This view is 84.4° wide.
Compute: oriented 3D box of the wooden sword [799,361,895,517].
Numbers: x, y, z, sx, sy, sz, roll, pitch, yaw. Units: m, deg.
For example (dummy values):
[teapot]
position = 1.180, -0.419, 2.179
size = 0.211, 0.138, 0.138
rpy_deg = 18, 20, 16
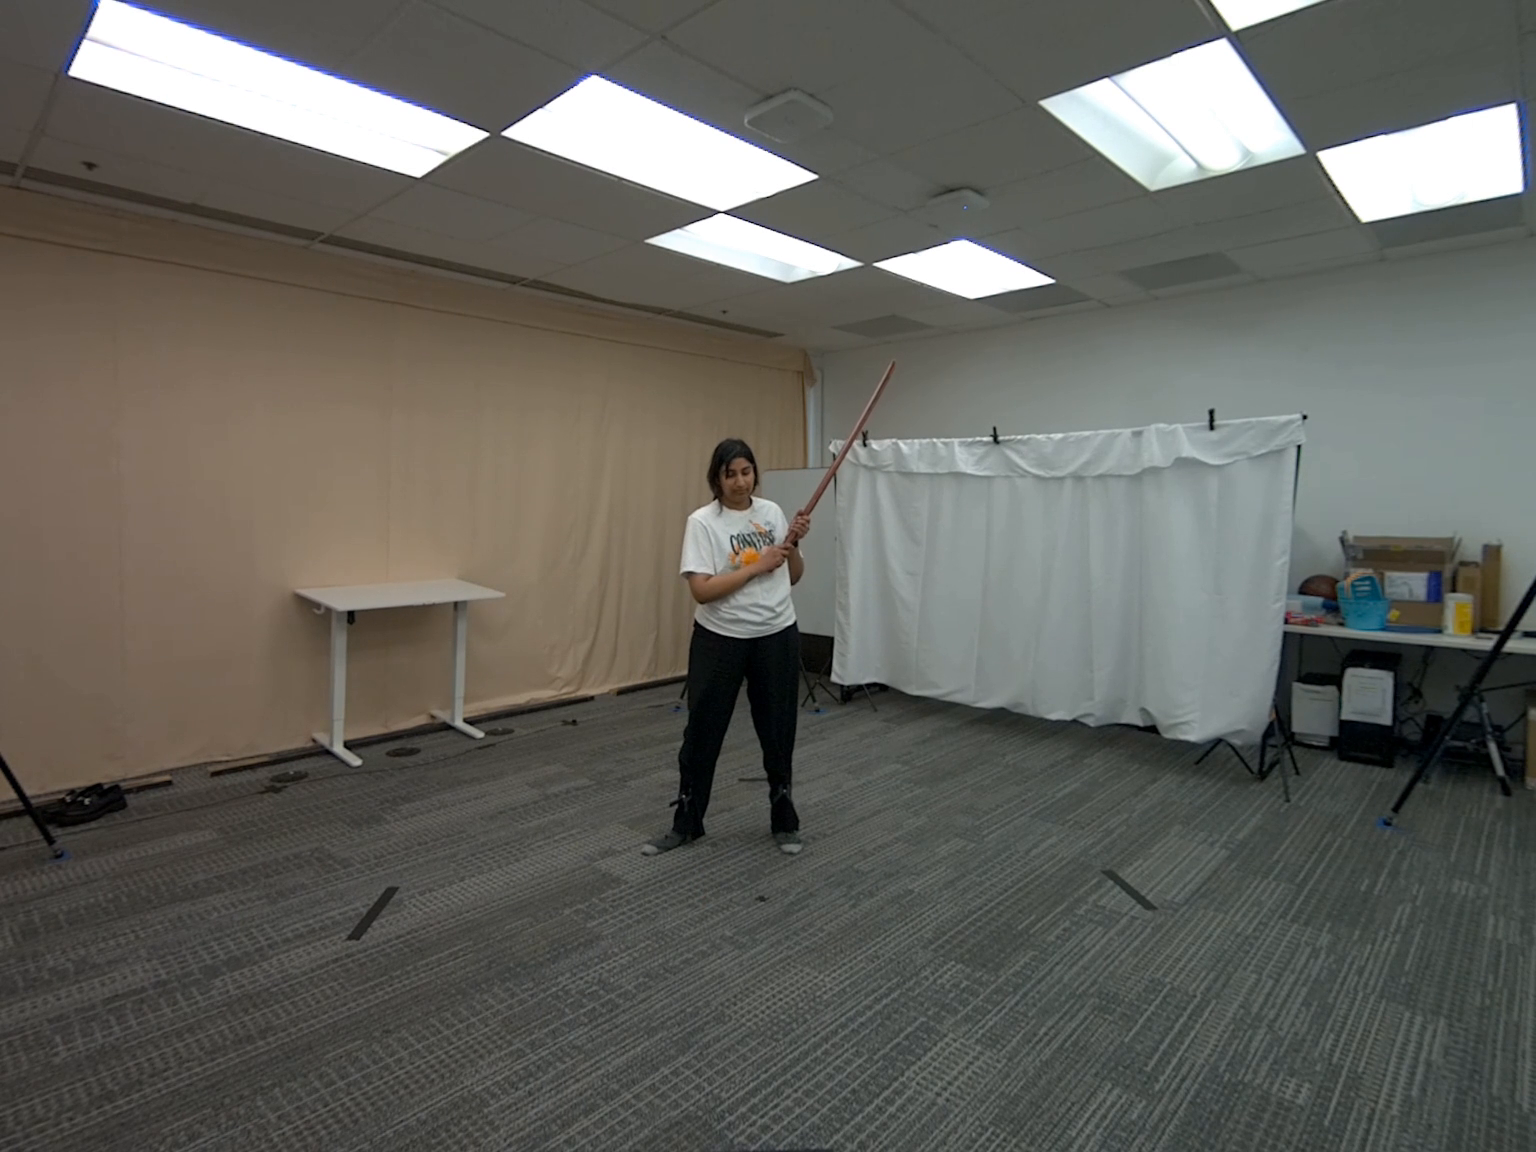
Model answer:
[wooden sword]
position = 0.278, -0.463, 3.364
size = 0.024, 1.025, 0.052
rpy_deg = 31, -12, -10
